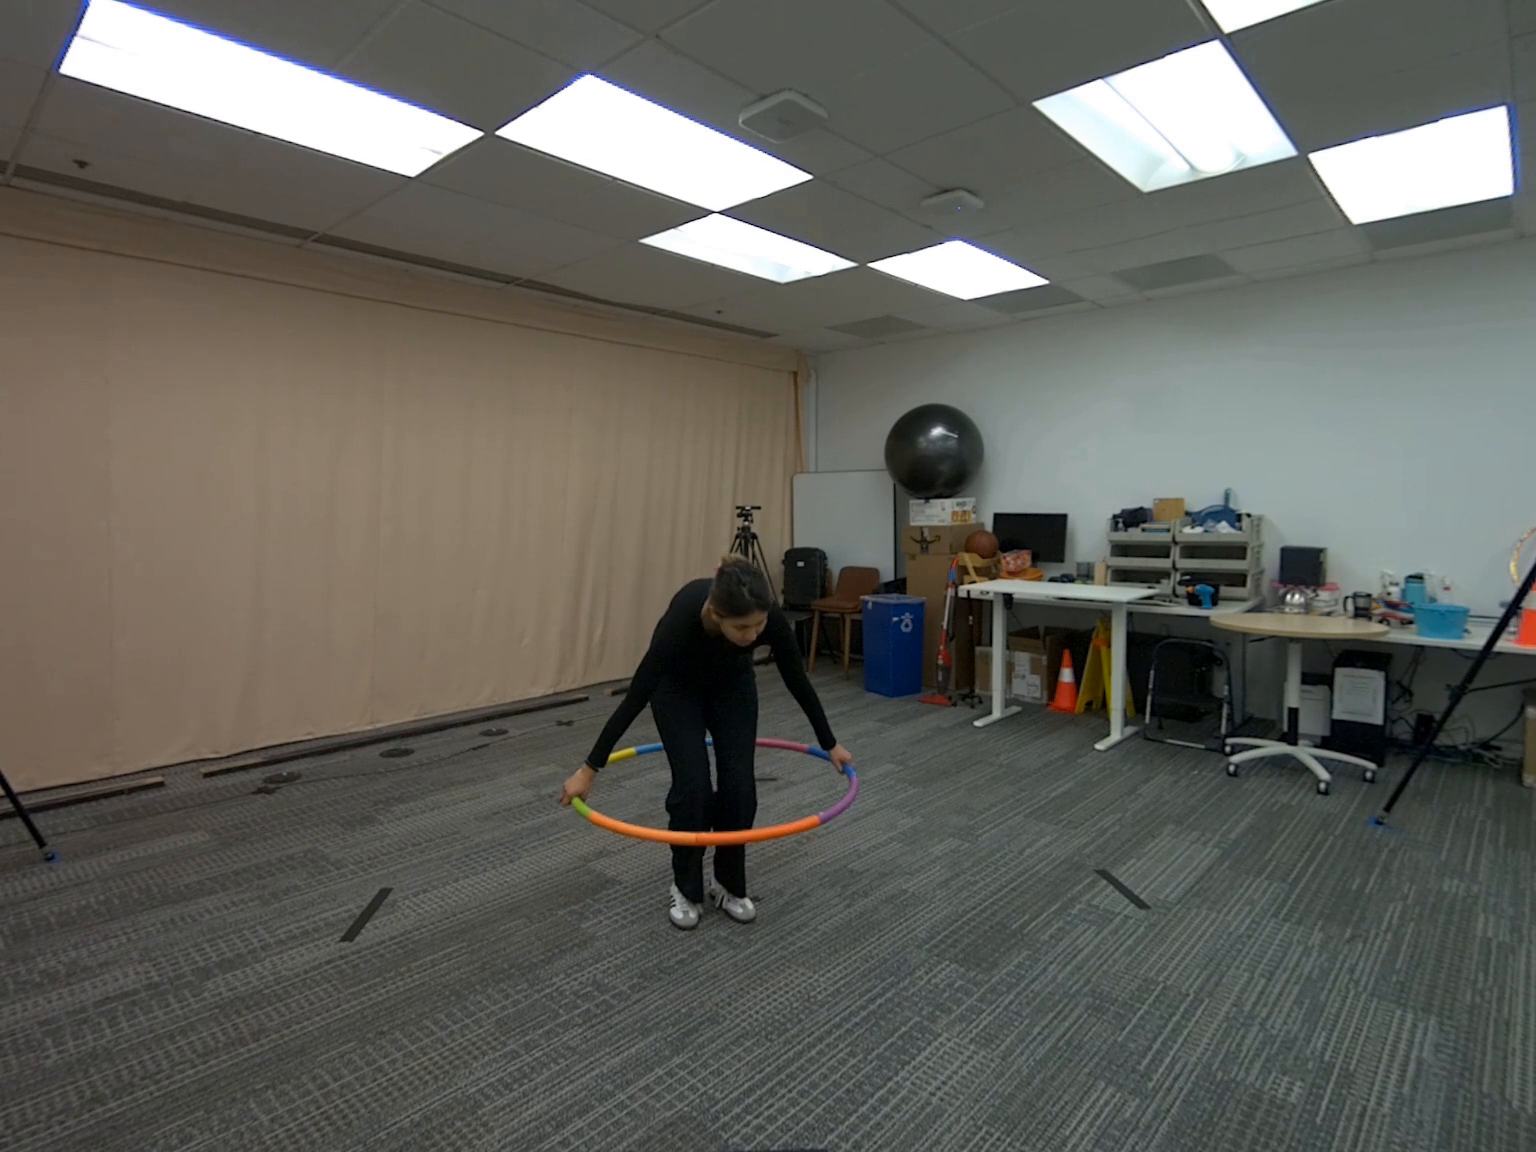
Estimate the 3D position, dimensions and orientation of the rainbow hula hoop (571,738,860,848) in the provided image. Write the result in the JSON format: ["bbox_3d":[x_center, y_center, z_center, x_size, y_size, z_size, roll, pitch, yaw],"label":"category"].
[{"bbox_3d":[-0.184,0.688,2.838,0.978,0.035,0.982,-2,5,-2],"label":"rainbow hula hoop"}]
